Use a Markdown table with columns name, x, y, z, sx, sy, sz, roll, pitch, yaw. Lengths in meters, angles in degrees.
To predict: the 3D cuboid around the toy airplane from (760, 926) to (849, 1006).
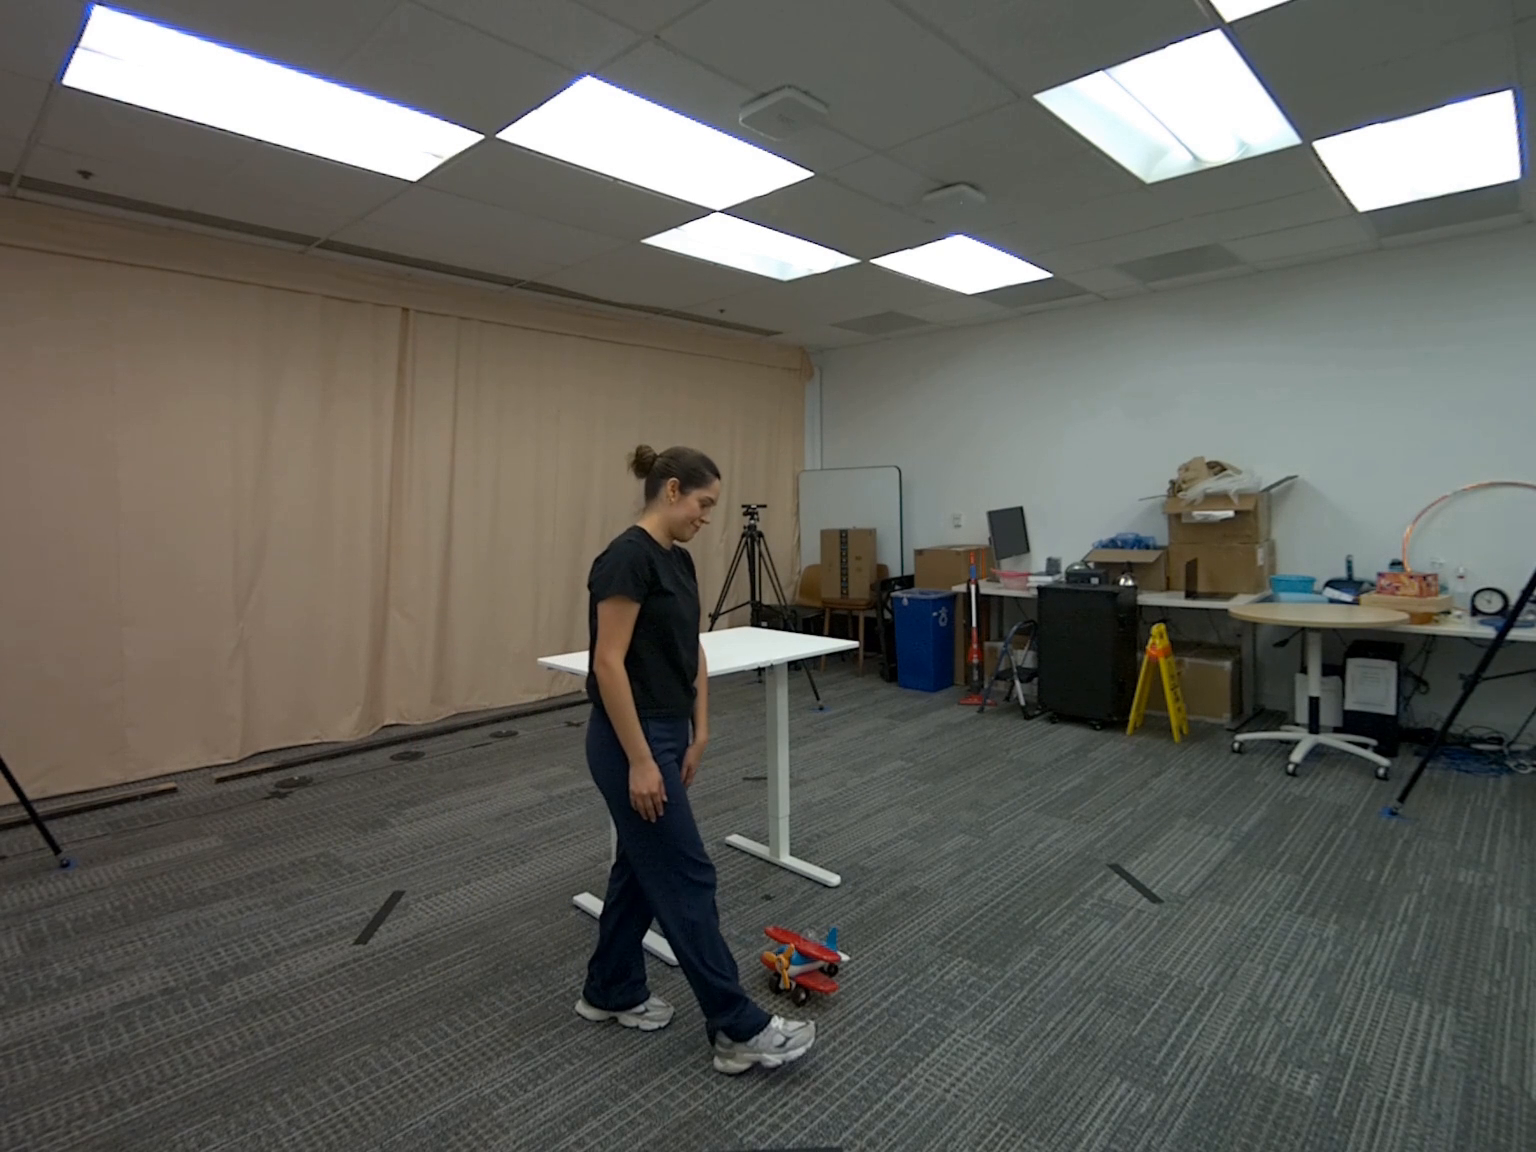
| name | x | y | z | sx | sy | sz | roll | pitch | yaw |
| --- | --- | --- | --- | --- | --- | --- | --- | --- | --- |
| toy airplane | 0.115 | 1.106 | 2.440 | 0.255 | 0.156 | 0.255 | 0 | 5 | 16 |
